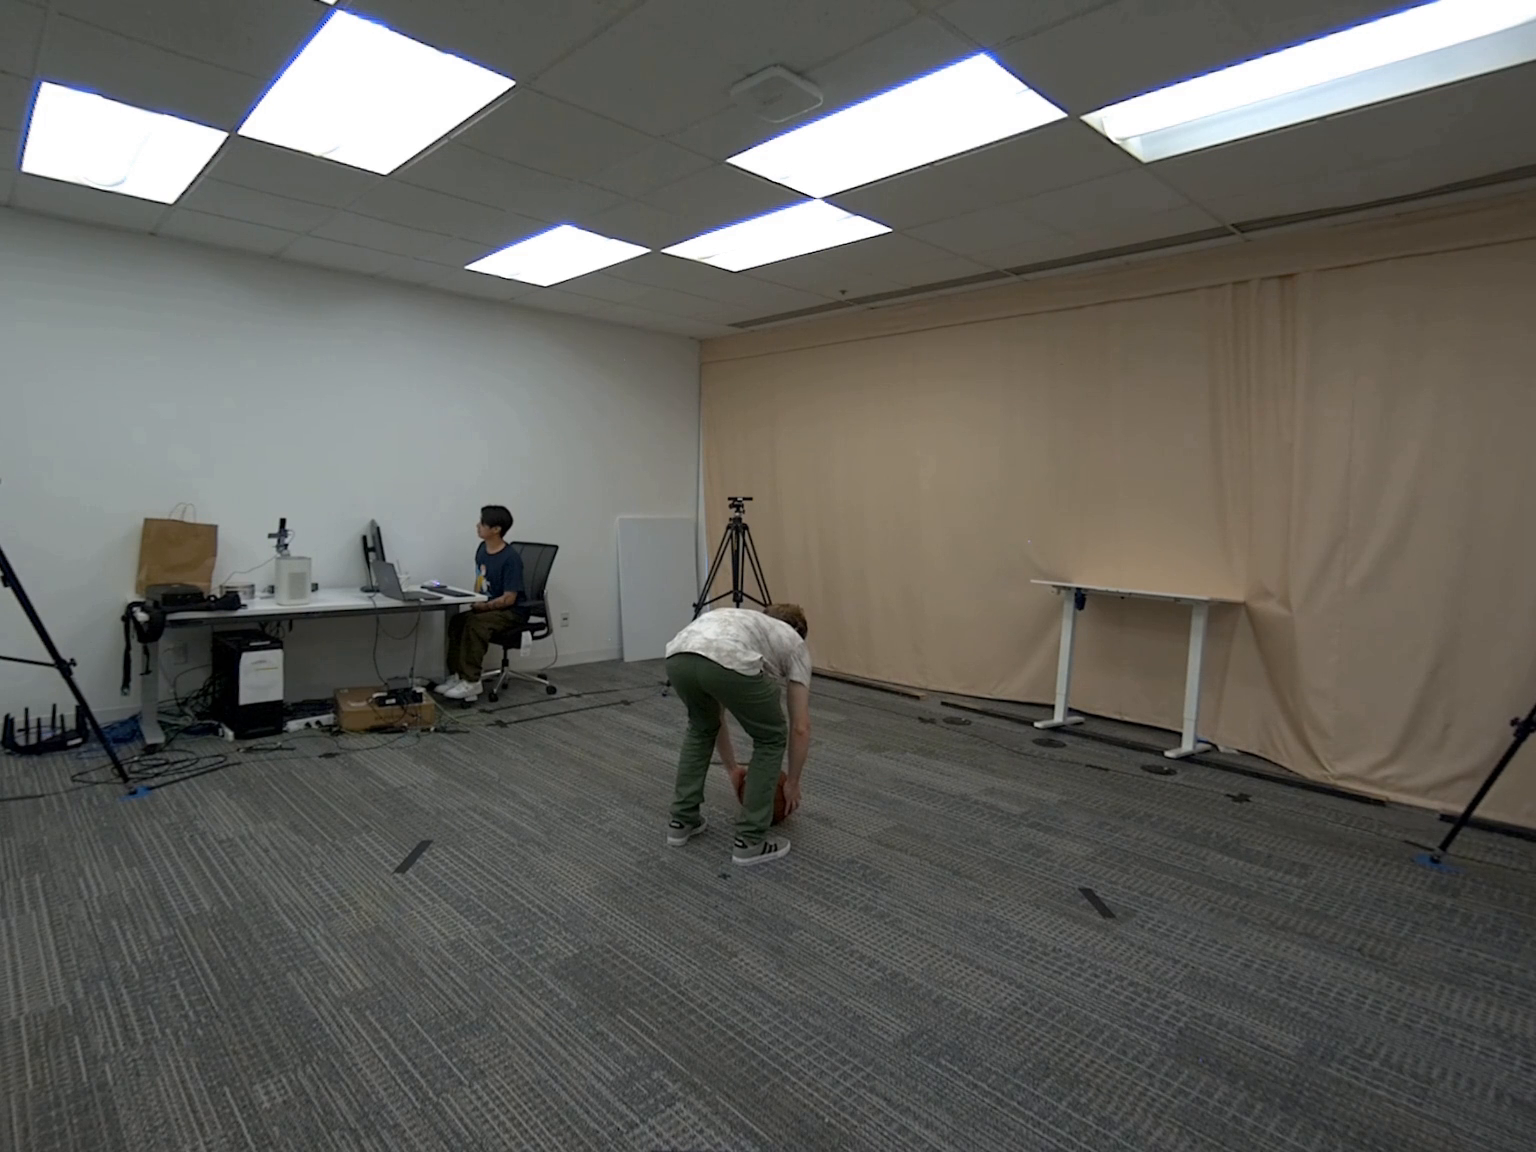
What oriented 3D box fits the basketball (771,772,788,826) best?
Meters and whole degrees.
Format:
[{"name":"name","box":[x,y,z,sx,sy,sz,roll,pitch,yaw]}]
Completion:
[{"name":"basketball","box":[-0.001,0.948,3.638,0.236,0.235,0.237,1,4,-1]}]
